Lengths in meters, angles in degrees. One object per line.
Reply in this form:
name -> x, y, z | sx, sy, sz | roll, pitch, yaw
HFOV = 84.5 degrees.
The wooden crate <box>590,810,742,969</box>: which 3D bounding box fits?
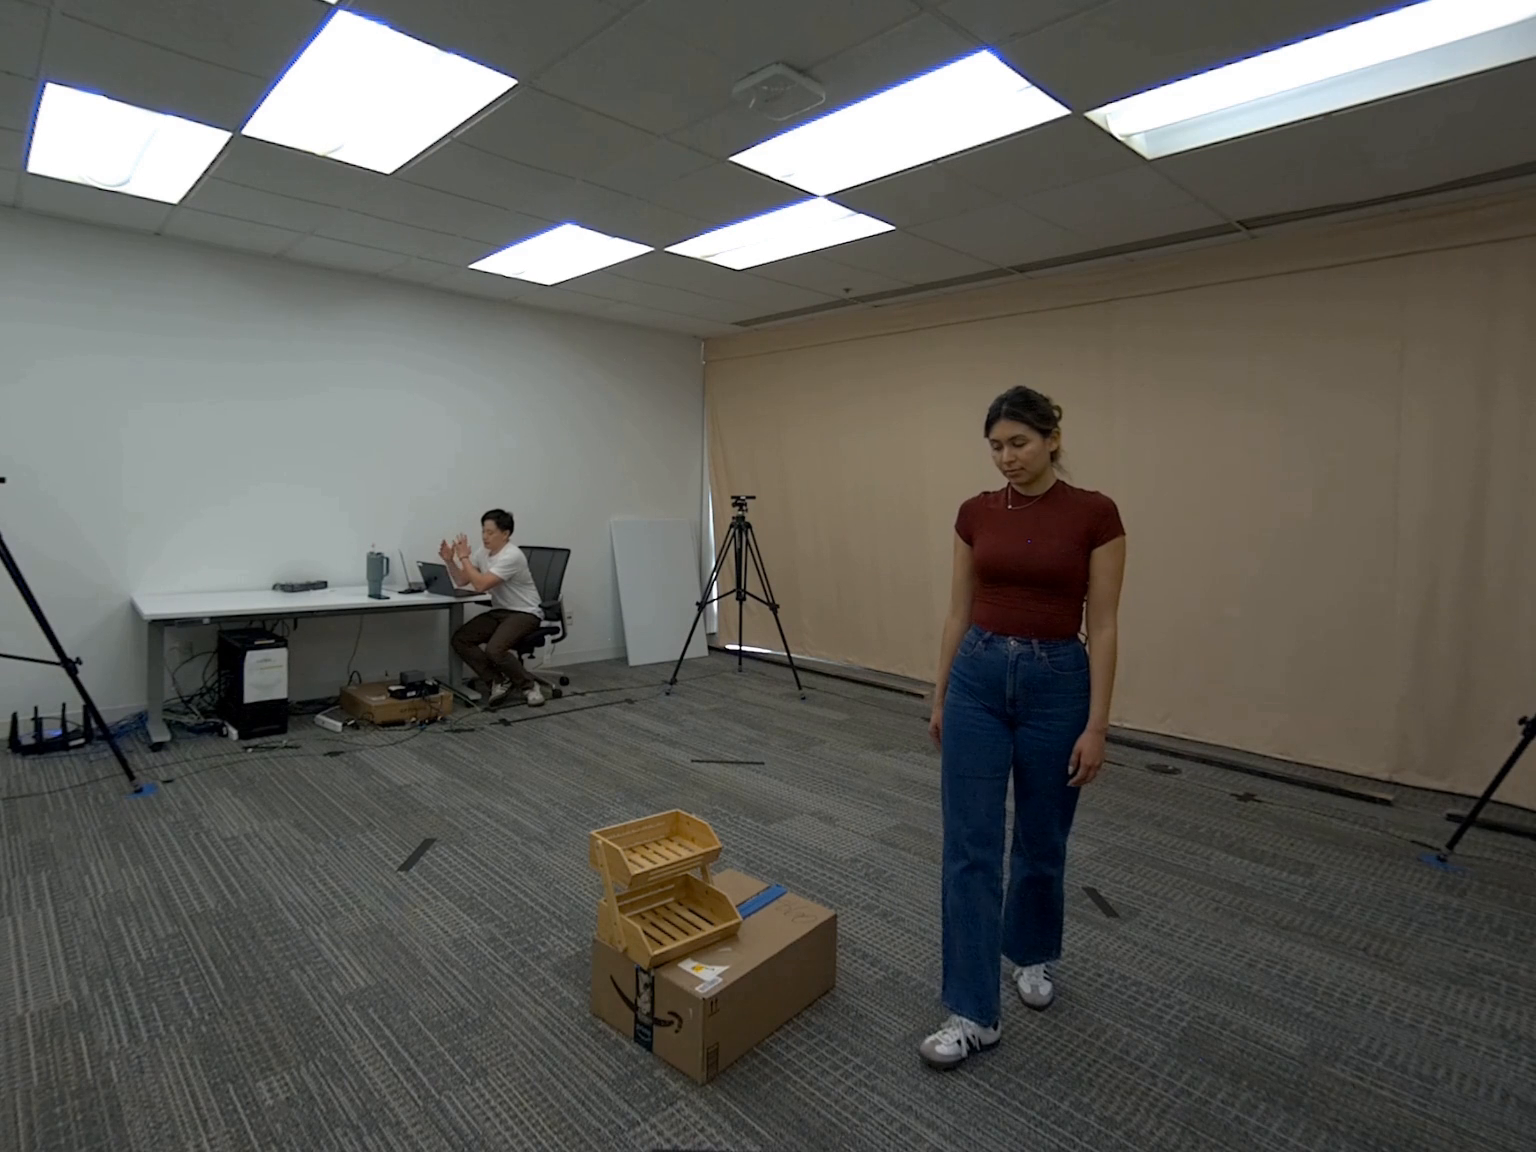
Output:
wooden crate -> -0.280, 0.831, 2.271 | 0.317, 0.273, 0.309 | -1, 4, -41
